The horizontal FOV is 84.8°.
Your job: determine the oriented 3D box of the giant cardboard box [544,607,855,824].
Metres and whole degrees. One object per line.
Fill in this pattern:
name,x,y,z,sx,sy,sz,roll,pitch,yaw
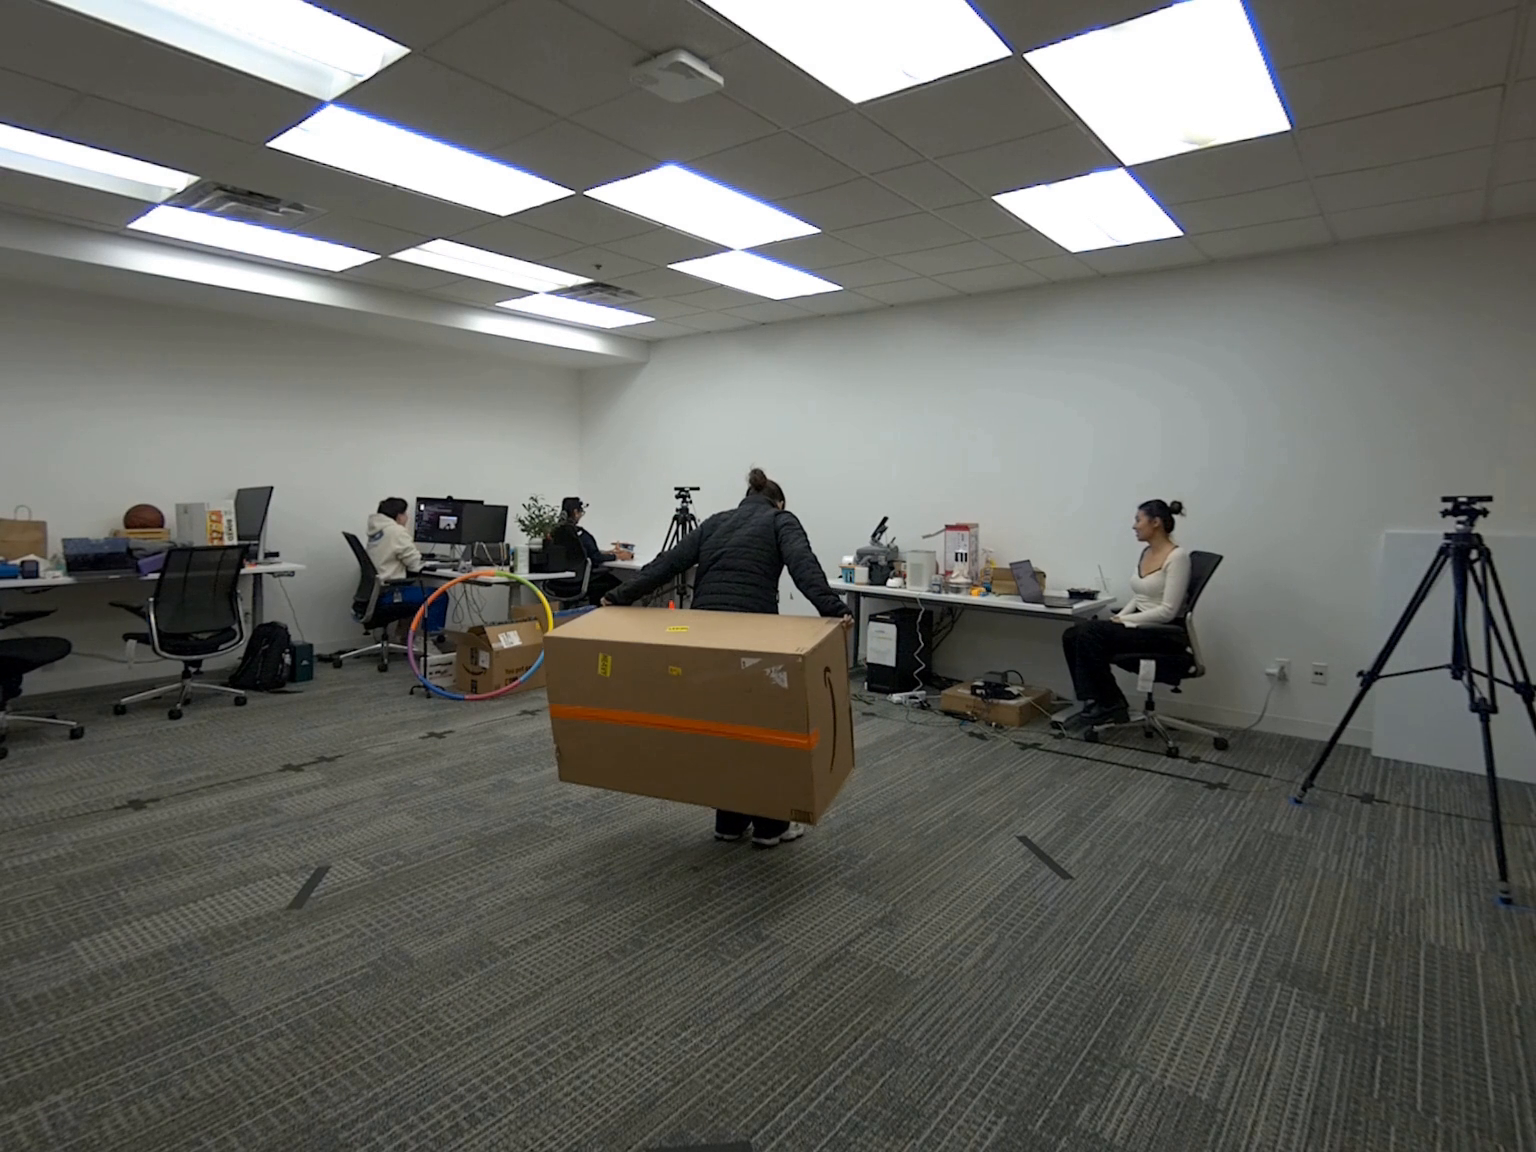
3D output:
giant cardboard box,-0.241,0.461,3.093,1.052,0.572,0.420,1,11,26
